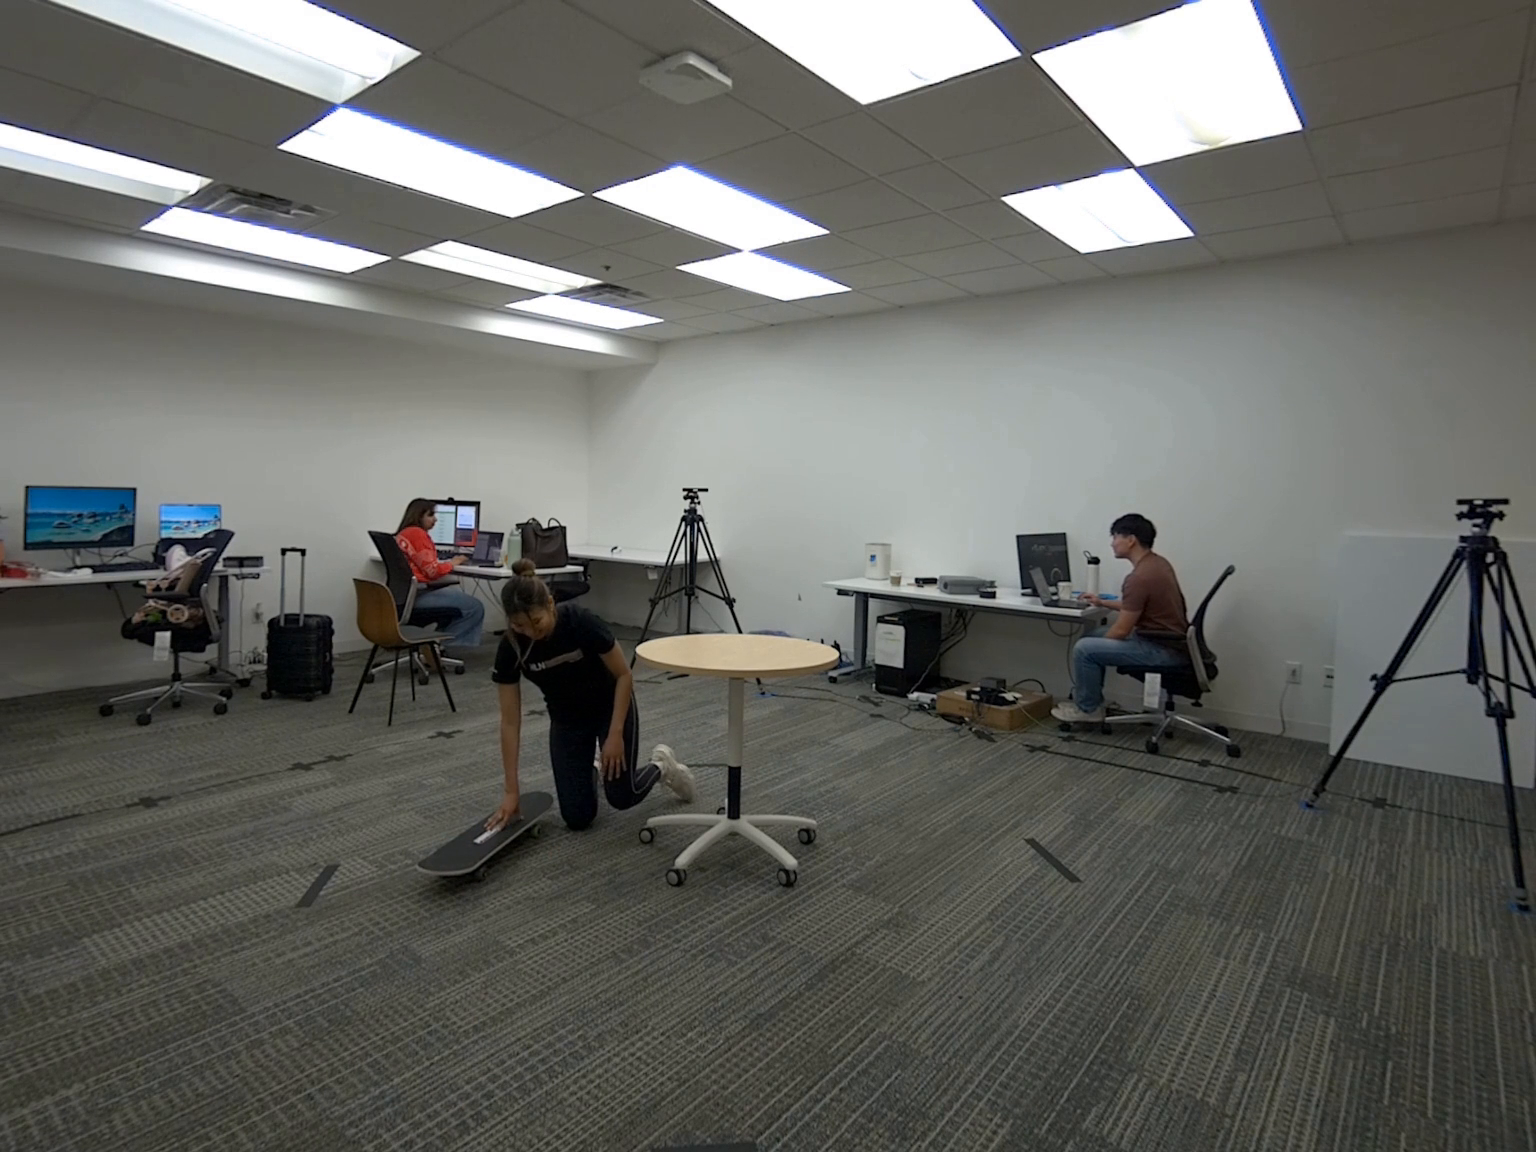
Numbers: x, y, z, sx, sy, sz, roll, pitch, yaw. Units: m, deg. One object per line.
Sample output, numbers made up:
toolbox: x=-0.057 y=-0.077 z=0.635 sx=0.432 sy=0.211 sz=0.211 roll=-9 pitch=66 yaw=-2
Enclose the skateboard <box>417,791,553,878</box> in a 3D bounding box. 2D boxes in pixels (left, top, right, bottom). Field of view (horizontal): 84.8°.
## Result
skateboard: x=-1.051 y=0.995 z=3.195 sx=0.196 sy=0.110 sz=0.776 roll=3 pitch=5 yaw=12
